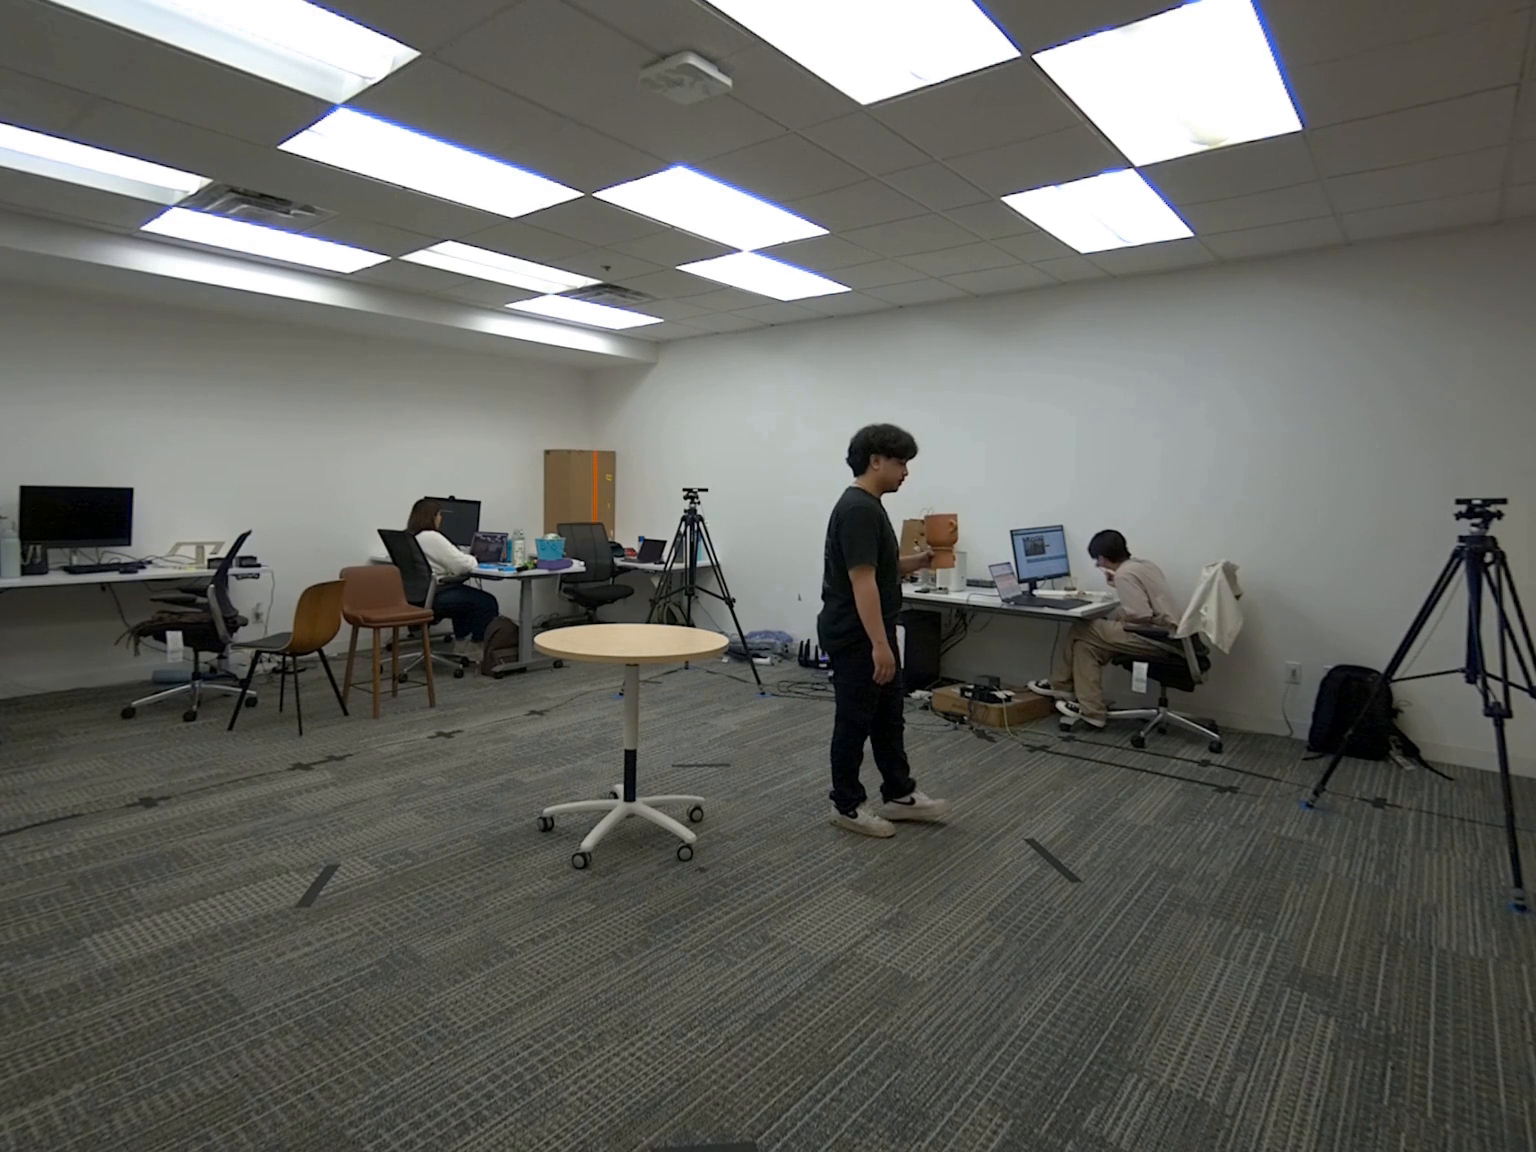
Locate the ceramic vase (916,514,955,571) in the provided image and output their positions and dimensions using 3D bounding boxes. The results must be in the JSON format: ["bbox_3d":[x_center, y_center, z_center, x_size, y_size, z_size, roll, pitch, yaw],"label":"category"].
[{"bbox_3d":[0.694,-0.142,3.487,0.137,0.219,0.156,-2,3,17],"label":"ceramic vase"}]
